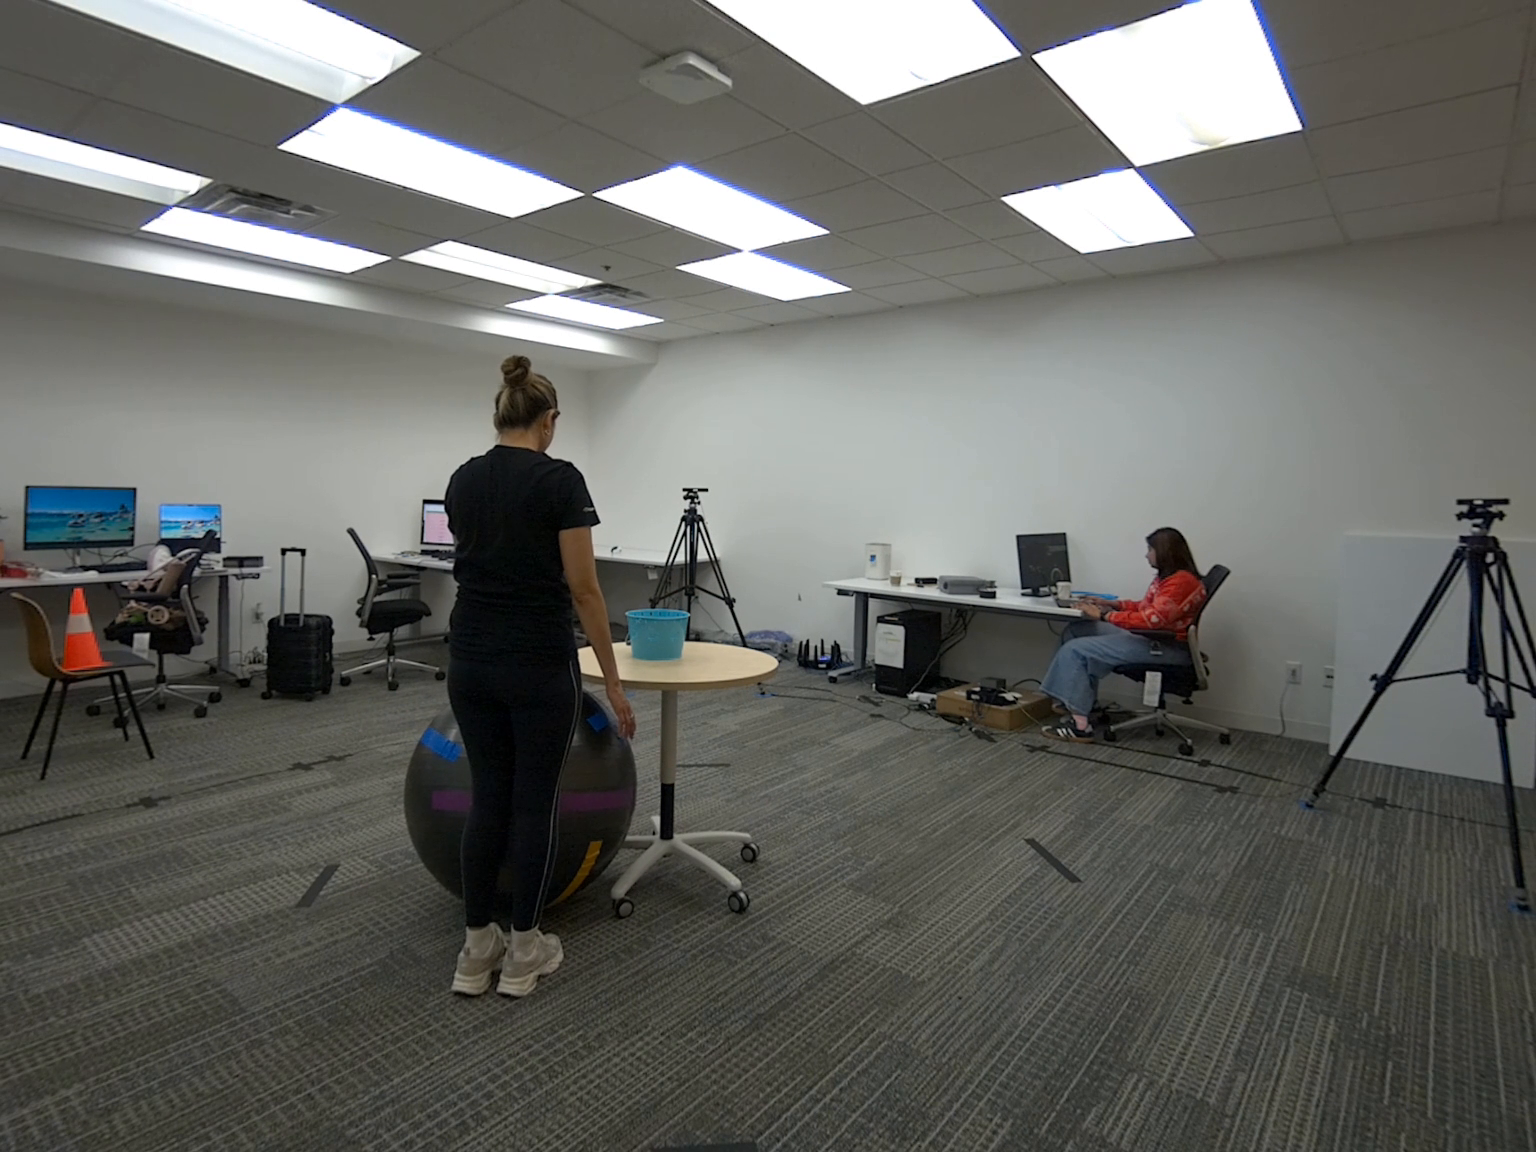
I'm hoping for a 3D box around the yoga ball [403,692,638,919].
[{"bbox_3d":[-0.842,0.720,2.845,0.757,0.756,0.761,1,4,-2],"label":"yoga ball"}]
